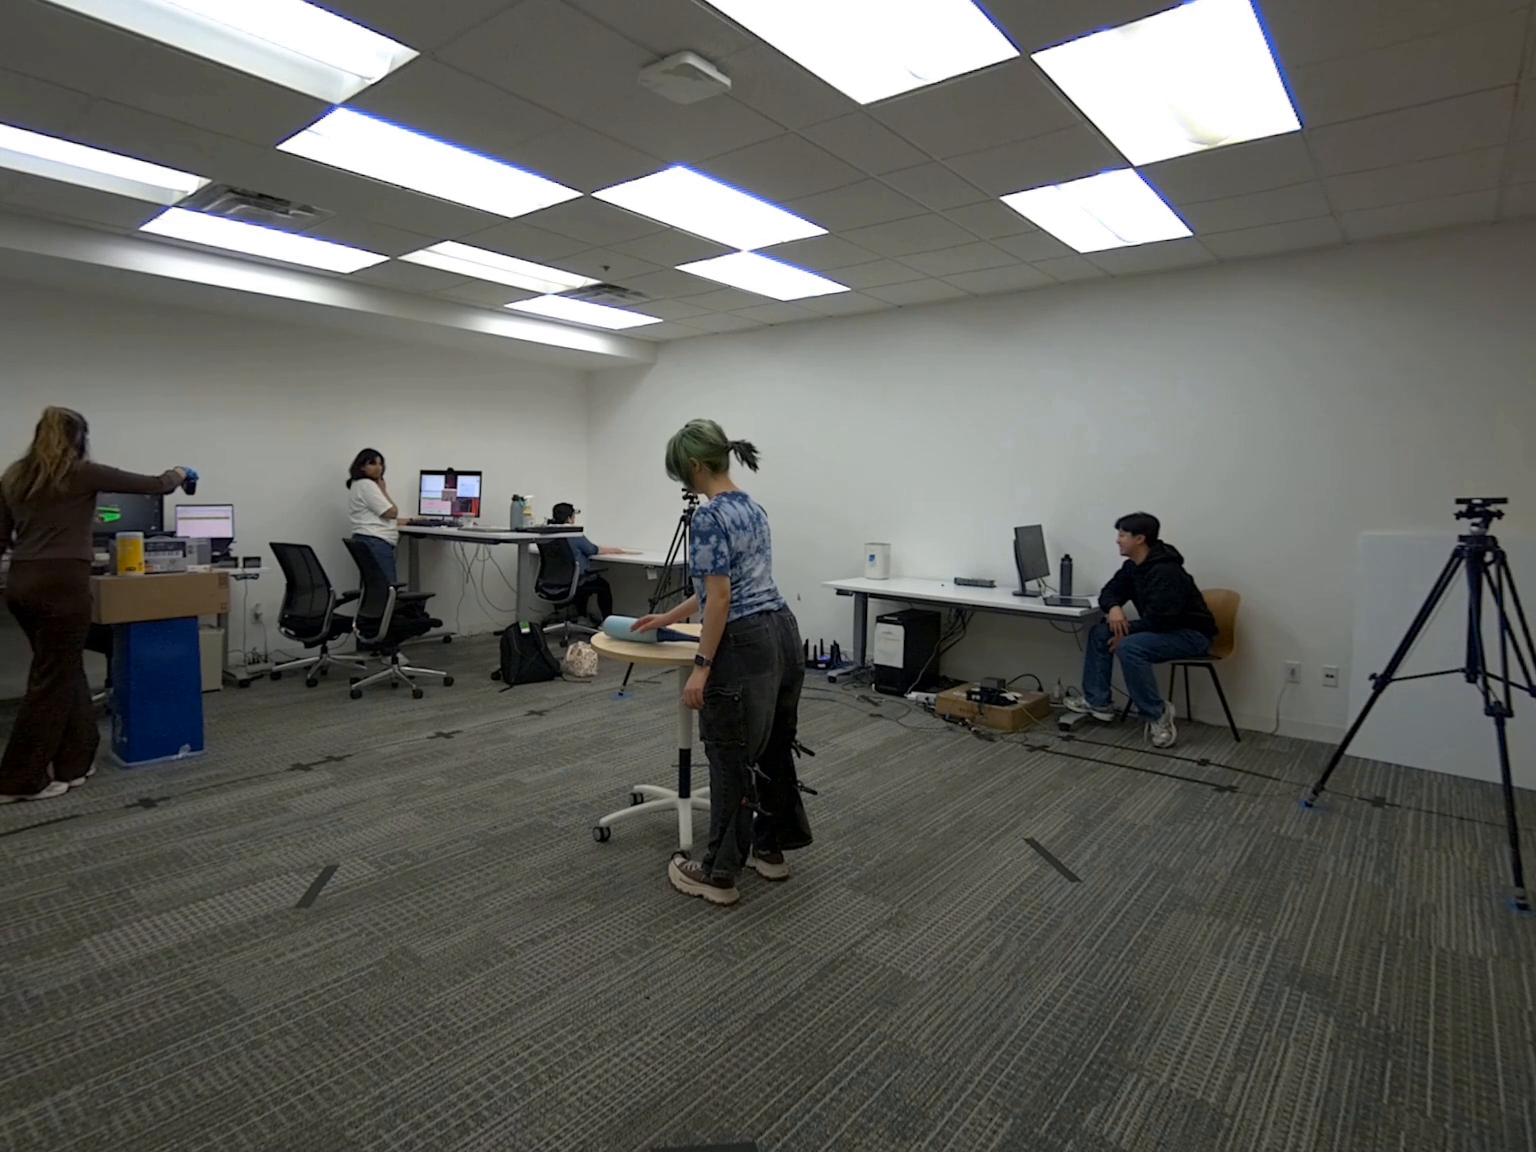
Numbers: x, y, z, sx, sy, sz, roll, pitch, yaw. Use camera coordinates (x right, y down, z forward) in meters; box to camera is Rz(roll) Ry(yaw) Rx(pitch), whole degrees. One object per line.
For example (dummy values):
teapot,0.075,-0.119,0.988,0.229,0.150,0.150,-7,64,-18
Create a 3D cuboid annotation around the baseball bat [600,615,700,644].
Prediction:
baseball bat,-0.407,0.230,3.309,0.557,0.088,0.087,8,6,24
